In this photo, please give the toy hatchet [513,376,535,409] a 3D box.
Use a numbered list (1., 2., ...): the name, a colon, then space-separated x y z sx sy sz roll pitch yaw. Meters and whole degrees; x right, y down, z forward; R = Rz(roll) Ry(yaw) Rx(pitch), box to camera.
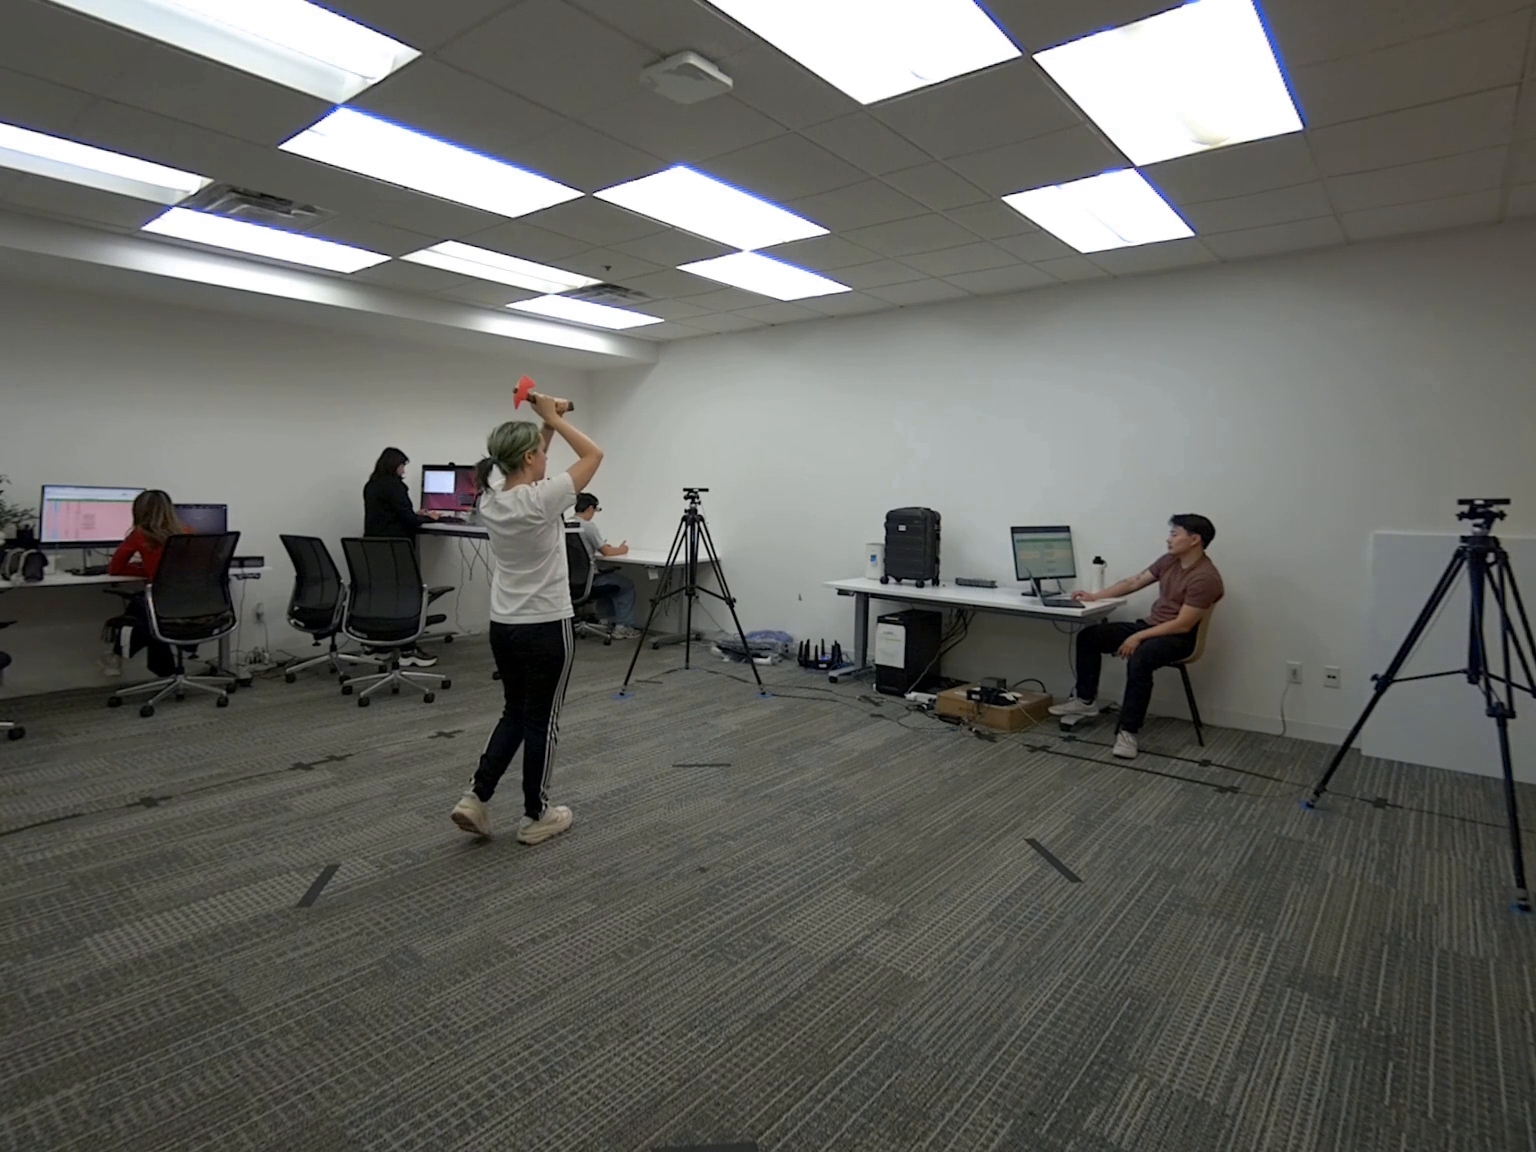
1. toy hatchet: -0.887 -0.716 3.315 0.030 0.130 0.263 1 7 44
